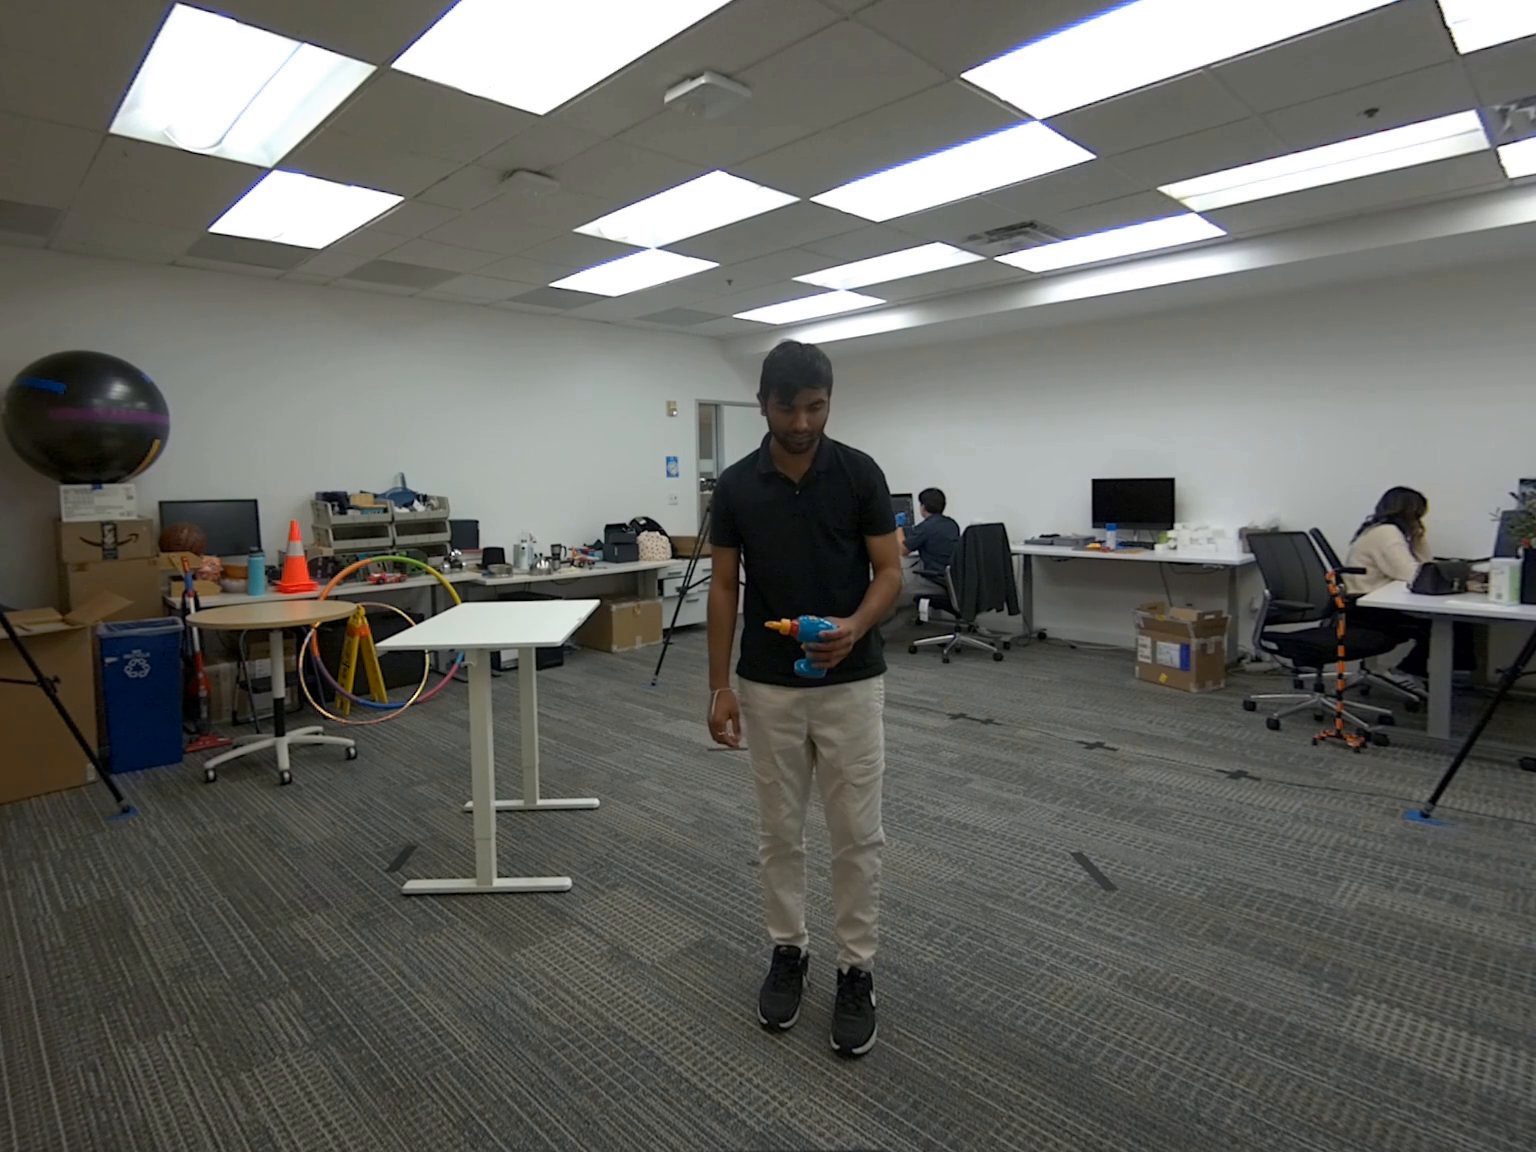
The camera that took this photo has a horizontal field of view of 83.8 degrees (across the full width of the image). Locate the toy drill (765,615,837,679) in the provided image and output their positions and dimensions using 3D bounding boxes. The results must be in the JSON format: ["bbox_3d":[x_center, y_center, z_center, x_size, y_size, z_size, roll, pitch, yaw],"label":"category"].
[{"bbox_3d":[0.082,0.157,1.932,0.168,0.143,0.062,7,26,-7],"label":"toy drill"}]
